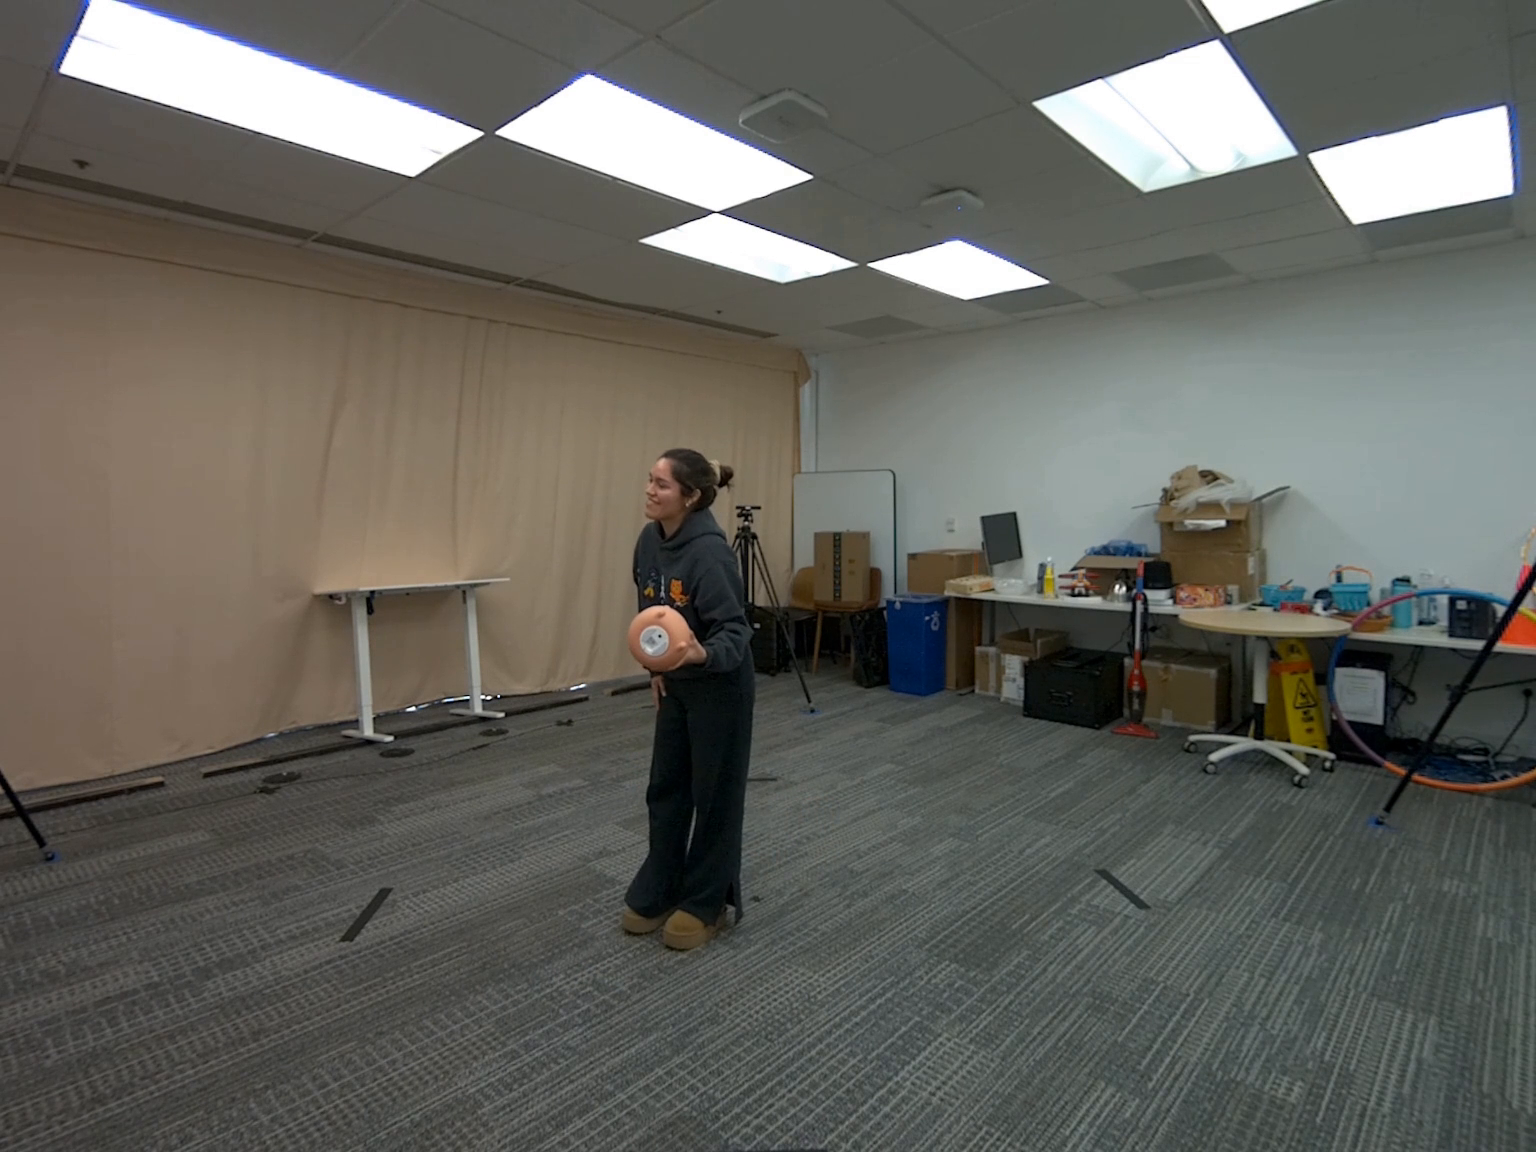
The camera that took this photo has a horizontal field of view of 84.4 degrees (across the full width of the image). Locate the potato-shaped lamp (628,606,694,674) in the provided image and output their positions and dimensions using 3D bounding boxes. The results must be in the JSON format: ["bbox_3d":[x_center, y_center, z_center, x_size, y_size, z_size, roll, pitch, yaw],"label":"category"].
[{"bbox_3d":[-0.277,0.163,2.272,0.172,0.165,0.196,-37,-2,13],"label":"potato-shaped lamp"}]
